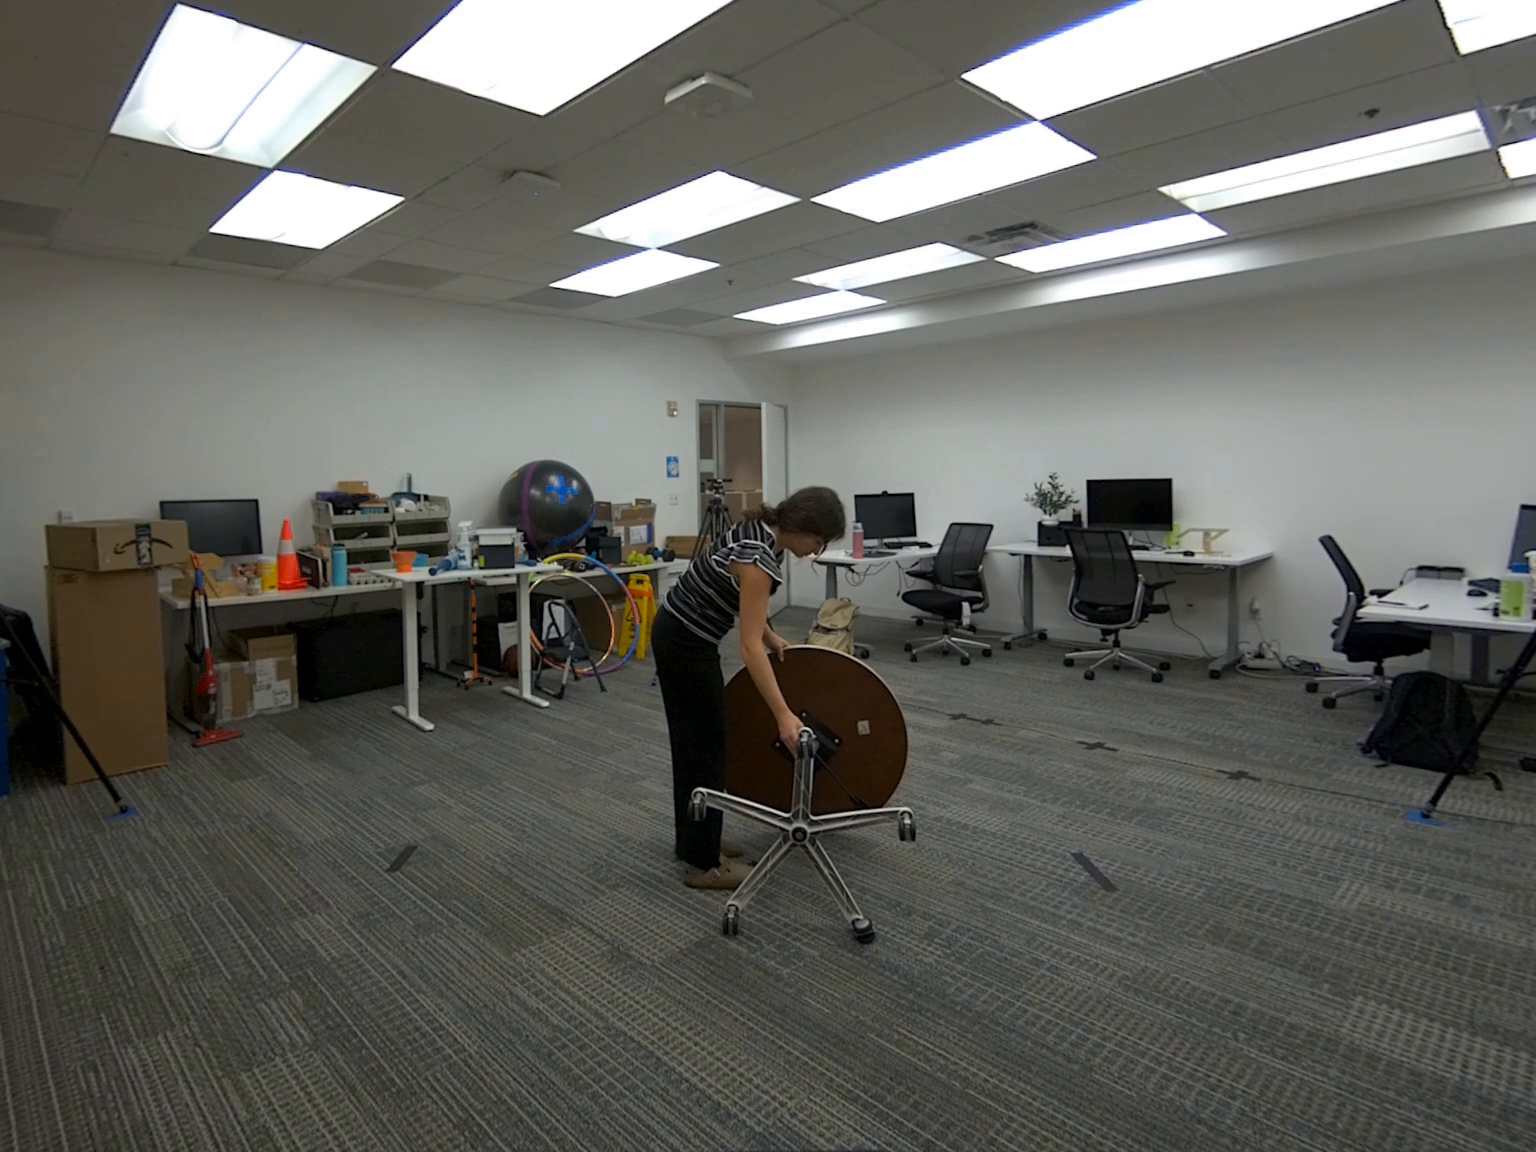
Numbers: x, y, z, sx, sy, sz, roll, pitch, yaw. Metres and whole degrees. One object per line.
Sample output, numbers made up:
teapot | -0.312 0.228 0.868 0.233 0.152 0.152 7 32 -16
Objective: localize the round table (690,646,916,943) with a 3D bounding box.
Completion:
round table | 0.128 0.734 2.916 0.769 0.756 0.797 0 11 6
